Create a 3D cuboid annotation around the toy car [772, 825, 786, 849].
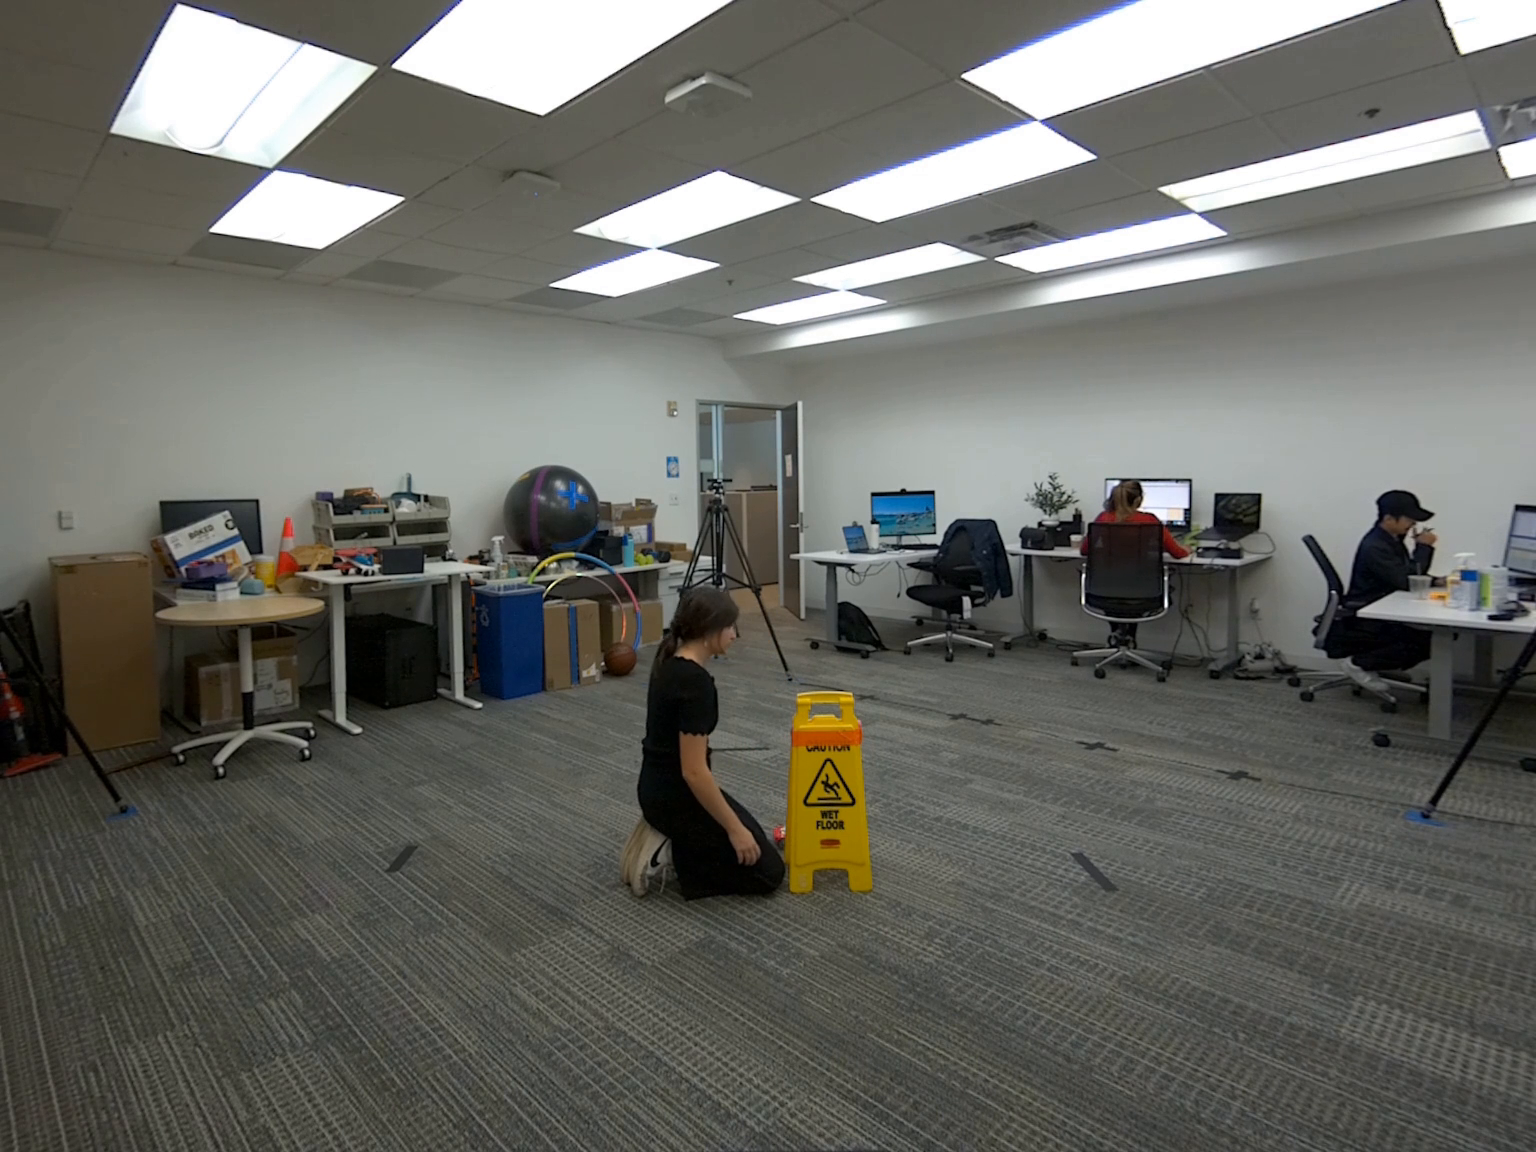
[{"bbox_3d":[0.163,0.994,3.269,0.254,0.083,0.131,-13,6,-3],"label":"toy car"}]
